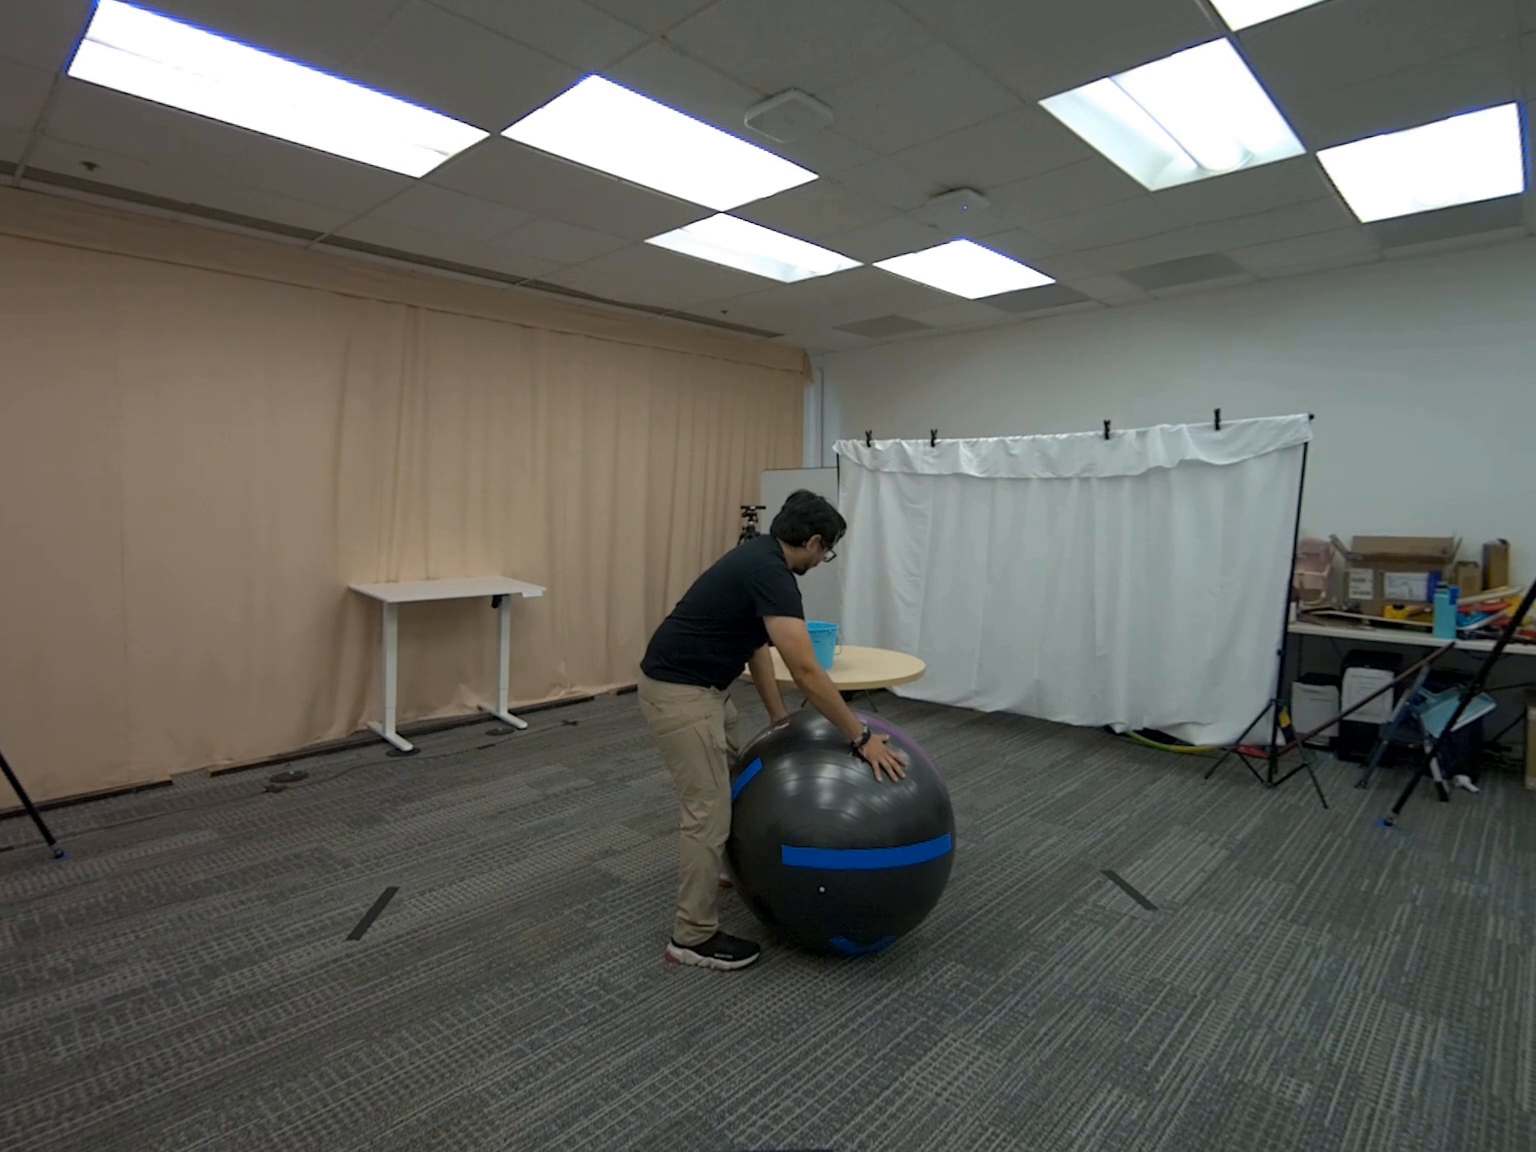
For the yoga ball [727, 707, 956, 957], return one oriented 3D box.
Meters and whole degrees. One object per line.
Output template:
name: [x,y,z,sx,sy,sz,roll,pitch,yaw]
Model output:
yoga ball: [0.231,0.820,2.731,0.757,0.756,0.760,0,4,-2]
